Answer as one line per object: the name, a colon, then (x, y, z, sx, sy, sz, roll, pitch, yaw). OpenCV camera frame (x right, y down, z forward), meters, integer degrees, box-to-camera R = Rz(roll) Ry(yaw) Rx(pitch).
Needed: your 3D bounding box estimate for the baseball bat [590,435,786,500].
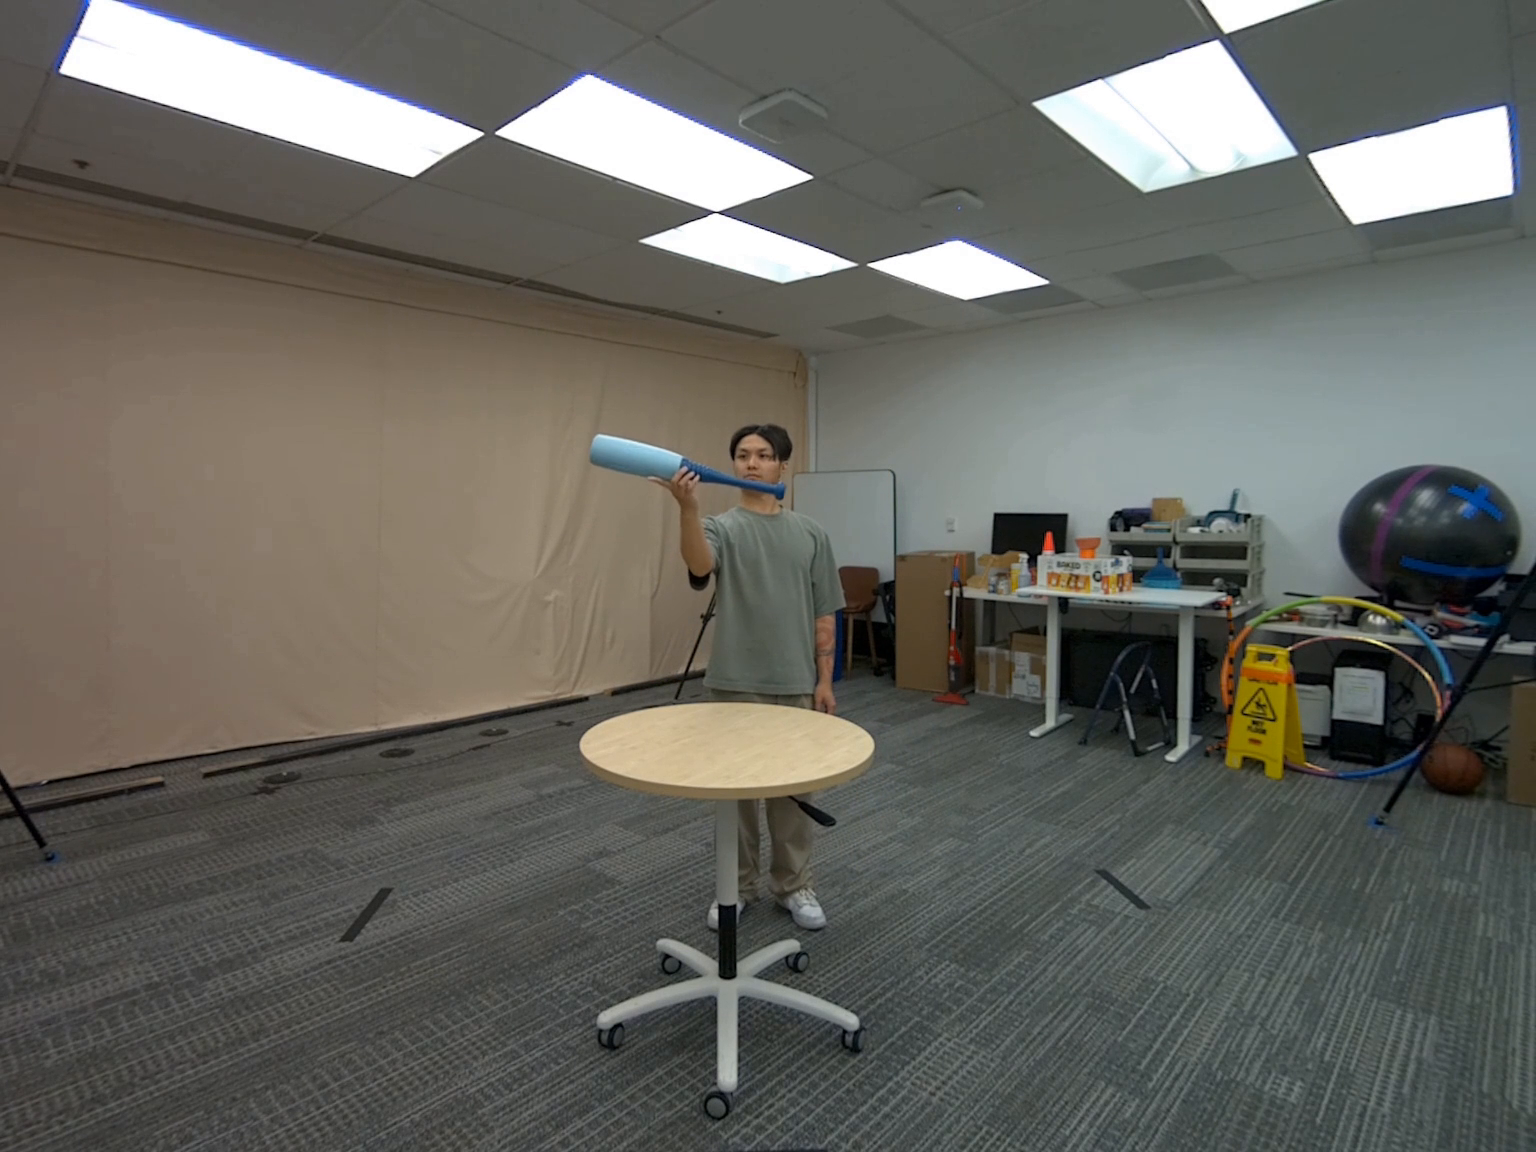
baseball bat: (-0.212, -0.288, 2.293, 0.545, 0.089, 0.089, 14, 4, 3)
